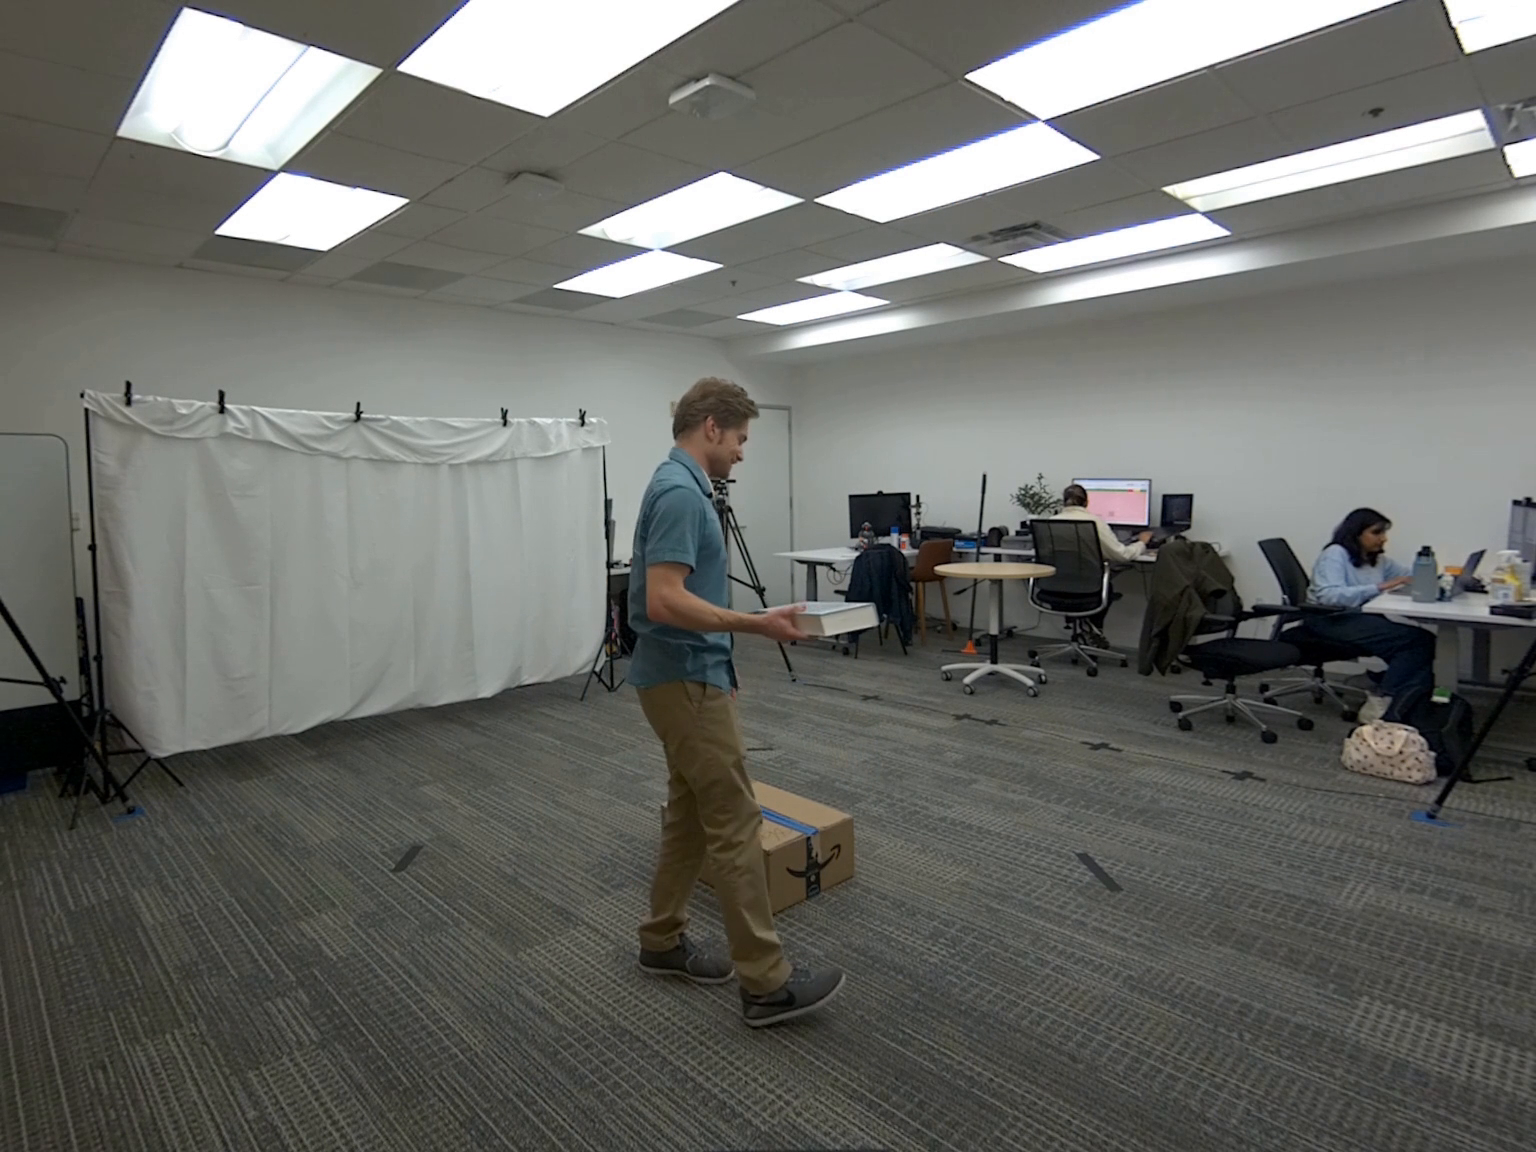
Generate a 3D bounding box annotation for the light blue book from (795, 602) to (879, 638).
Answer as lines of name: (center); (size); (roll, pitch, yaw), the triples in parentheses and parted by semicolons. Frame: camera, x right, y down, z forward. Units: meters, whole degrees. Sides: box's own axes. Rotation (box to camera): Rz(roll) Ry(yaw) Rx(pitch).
light blue book: (0.130, 0.105, 2.224); (0.186, 0.059, 0.268); (-6, 3, -37)
